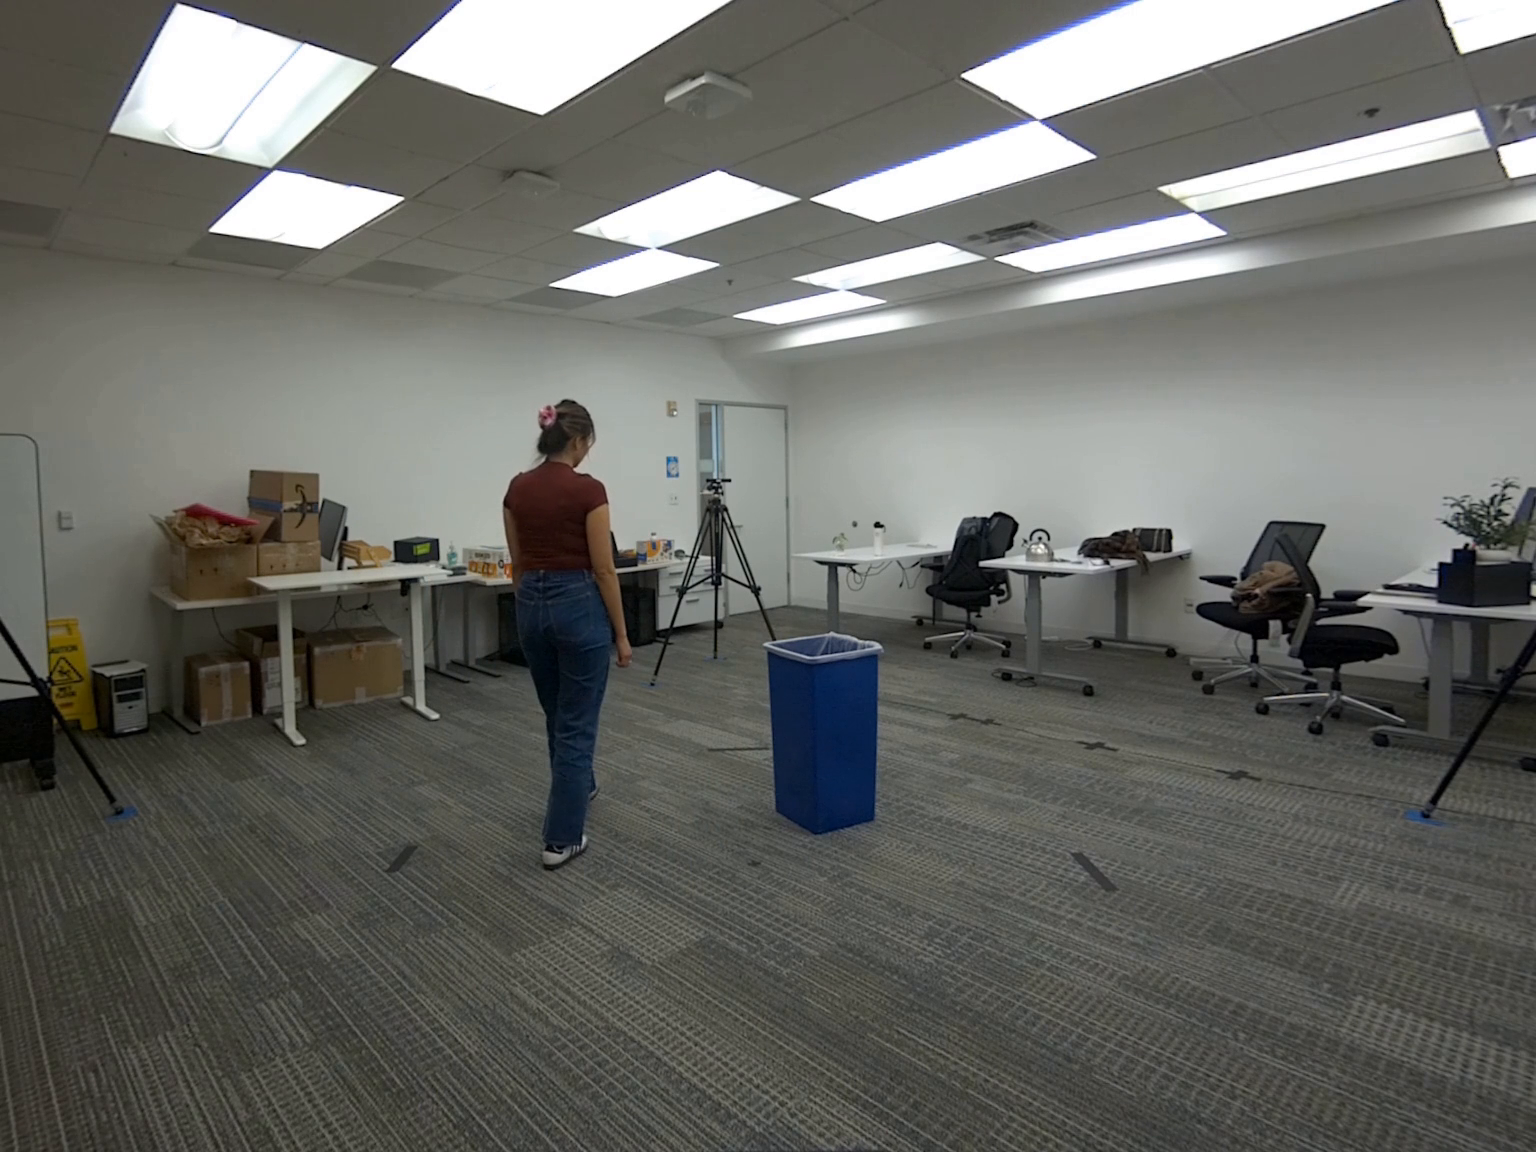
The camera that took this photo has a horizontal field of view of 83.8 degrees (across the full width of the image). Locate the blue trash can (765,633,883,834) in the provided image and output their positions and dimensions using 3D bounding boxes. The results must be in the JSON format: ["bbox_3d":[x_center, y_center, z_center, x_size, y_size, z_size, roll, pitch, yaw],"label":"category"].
[{"bbox_3d":[0.224,0.633,3.516,0.365,0.711,0.389,-4,5,-32],"label":"blue trash can"}]
